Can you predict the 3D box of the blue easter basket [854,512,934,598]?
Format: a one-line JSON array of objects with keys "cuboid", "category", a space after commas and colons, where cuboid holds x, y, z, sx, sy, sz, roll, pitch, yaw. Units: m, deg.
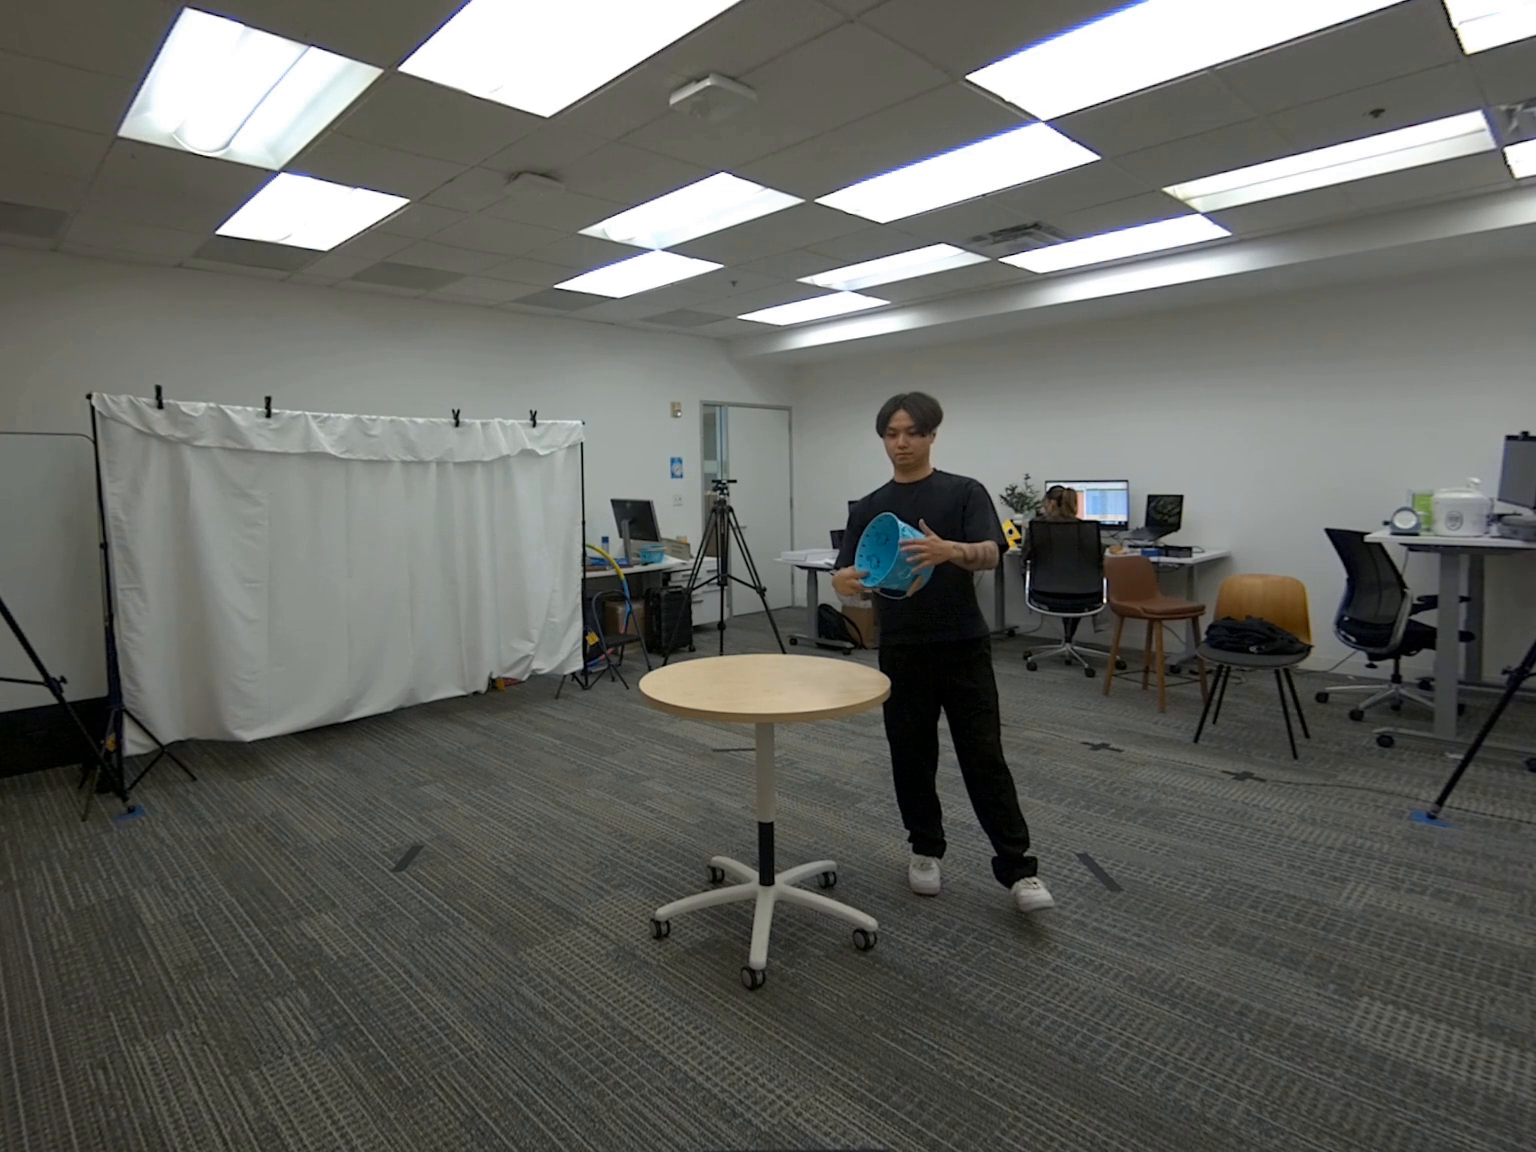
[{"cuboid": [0.383, -0.049, 2.602, 0.152, 0.244, 0.249, 20, -4, -23], "category": "blue easter basket"}]
